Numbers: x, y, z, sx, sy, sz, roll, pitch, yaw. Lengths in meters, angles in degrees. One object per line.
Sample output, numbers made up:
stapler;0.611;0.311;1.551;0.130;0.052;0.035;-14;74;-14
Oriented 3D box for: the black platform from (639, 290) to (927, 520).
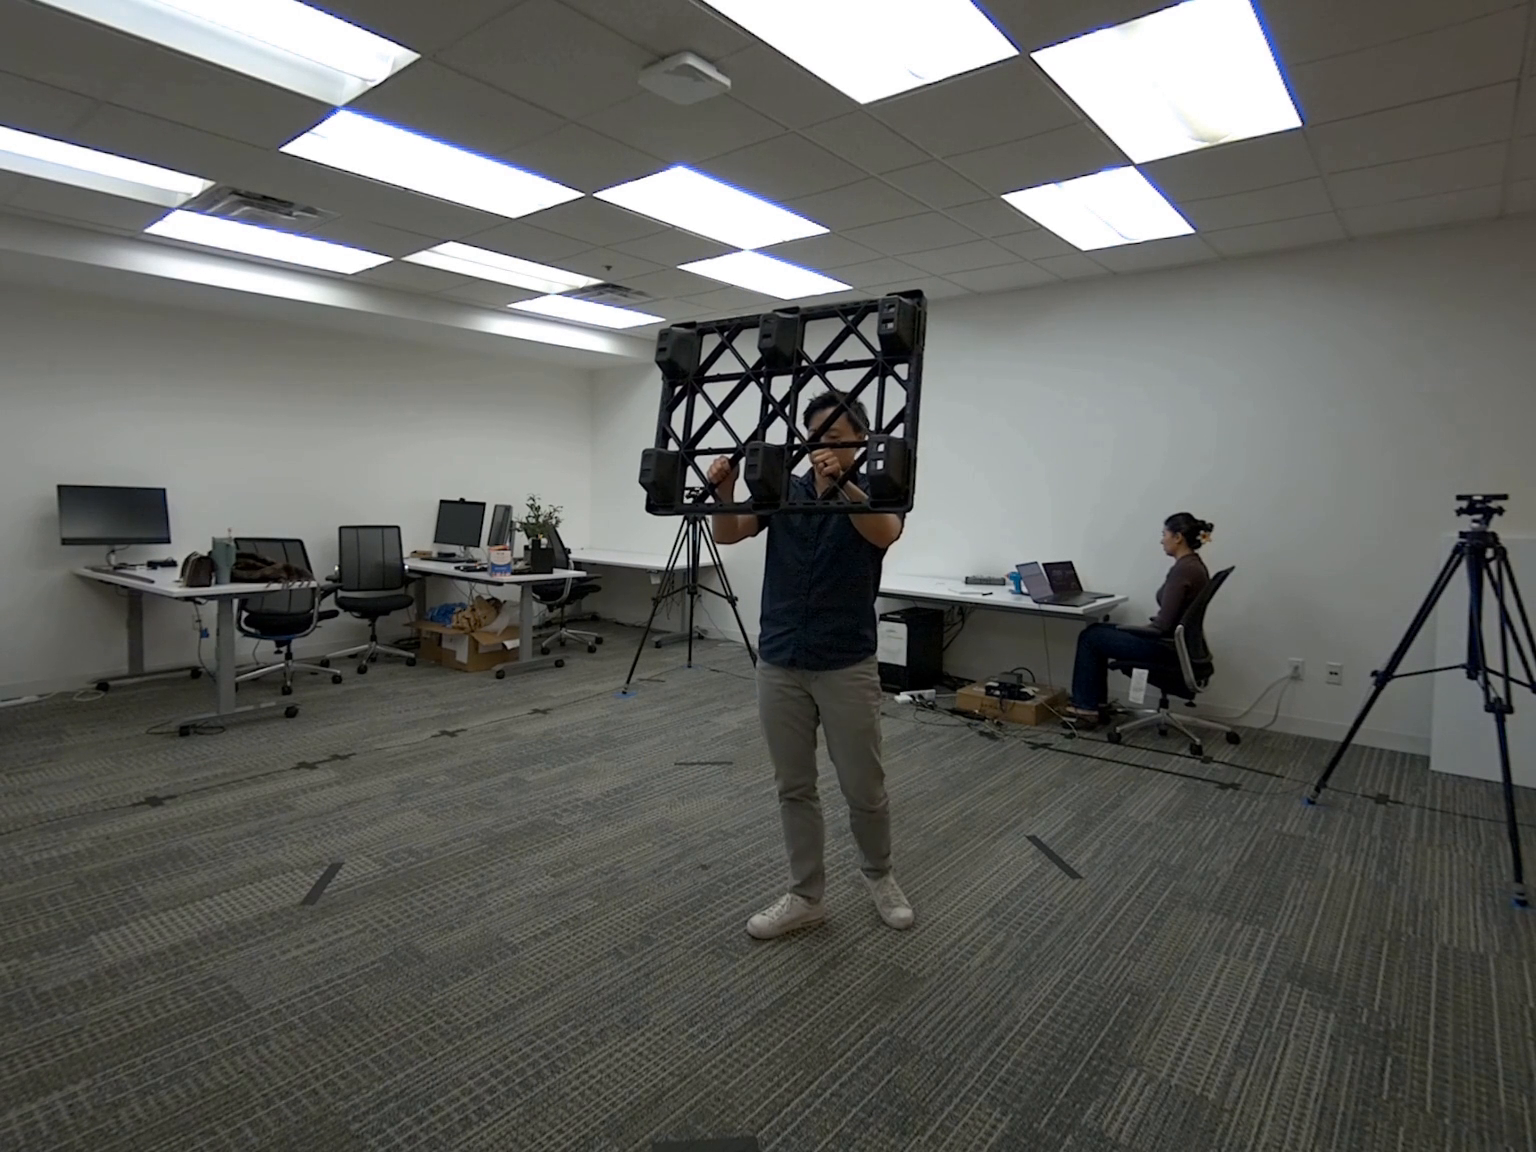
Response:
black platform;0.008;-0.476;2.340;0.828;0.610;0.138;1;-11;28
